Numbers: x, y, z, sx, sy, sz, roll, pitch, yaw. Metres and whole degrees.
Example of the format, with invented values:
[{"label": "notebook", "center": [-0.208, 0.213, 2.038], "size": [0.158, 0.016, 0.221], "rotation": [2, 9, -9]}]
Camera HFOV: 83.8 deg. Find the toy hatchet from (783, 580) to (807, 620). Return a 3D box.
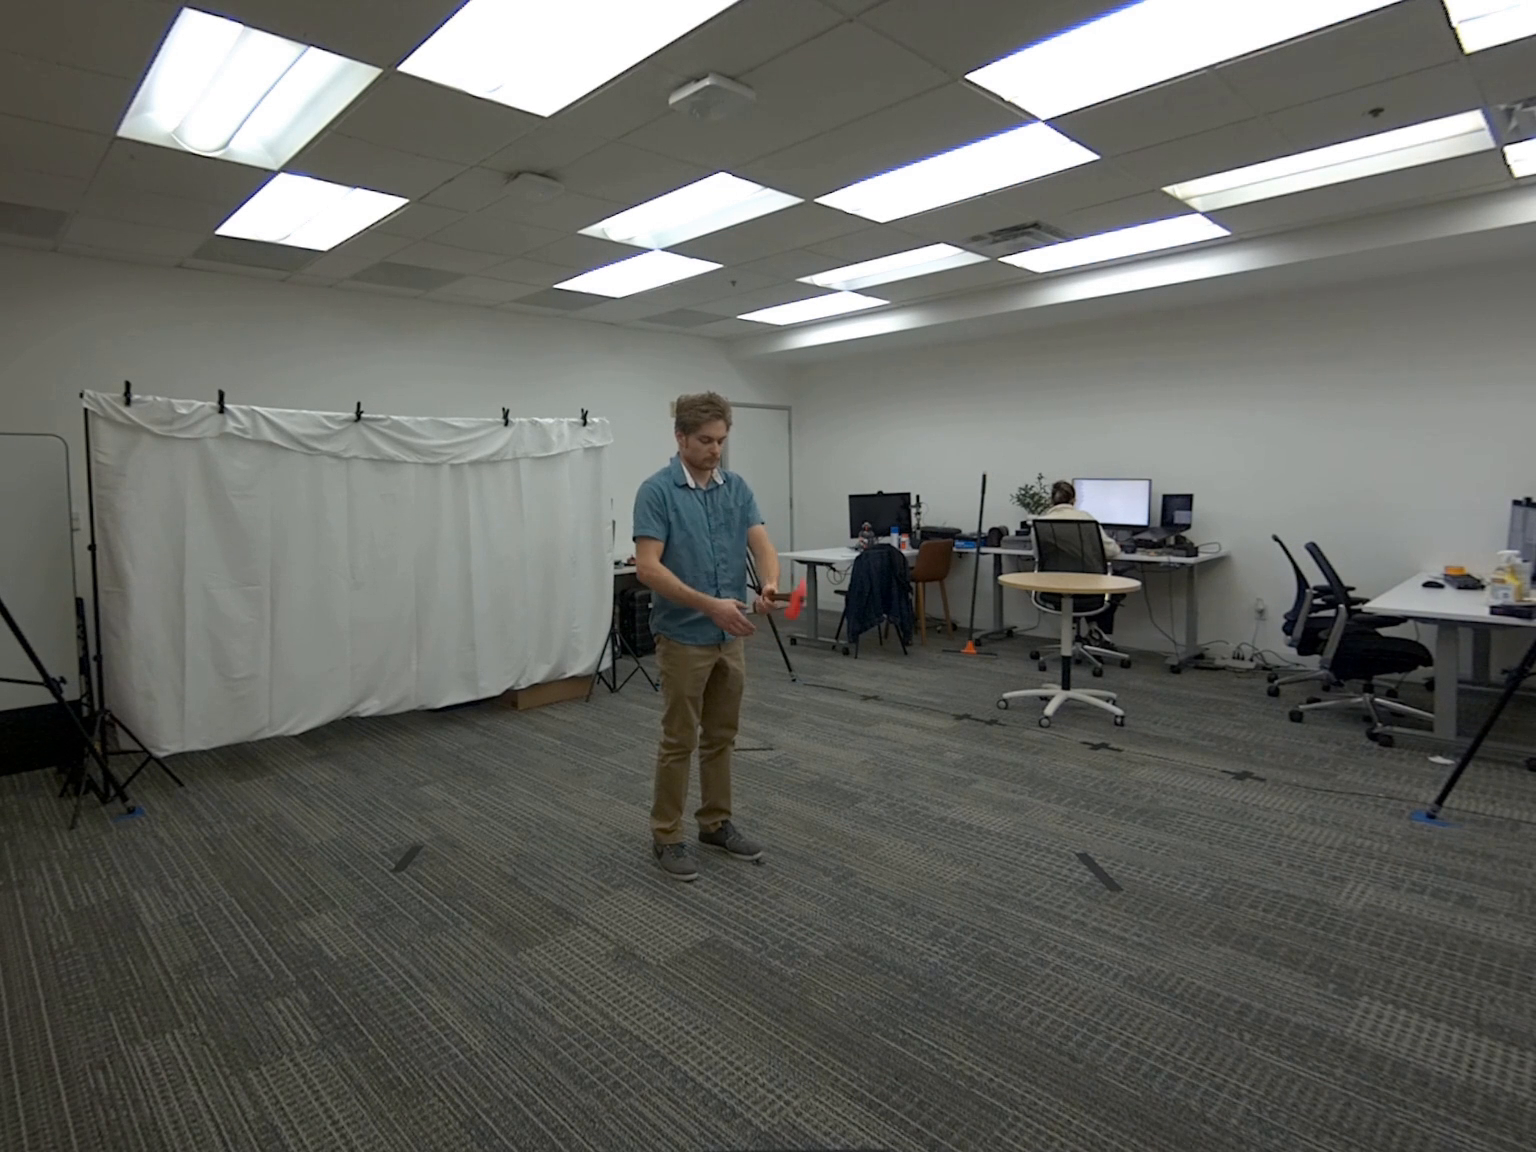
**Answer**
[{"label": "toy hatchet", "center": [0.034, 0.124, 2.761], "size": [0.029, 0.134, 0.271], "rotation": [13, -28, -23]}]
